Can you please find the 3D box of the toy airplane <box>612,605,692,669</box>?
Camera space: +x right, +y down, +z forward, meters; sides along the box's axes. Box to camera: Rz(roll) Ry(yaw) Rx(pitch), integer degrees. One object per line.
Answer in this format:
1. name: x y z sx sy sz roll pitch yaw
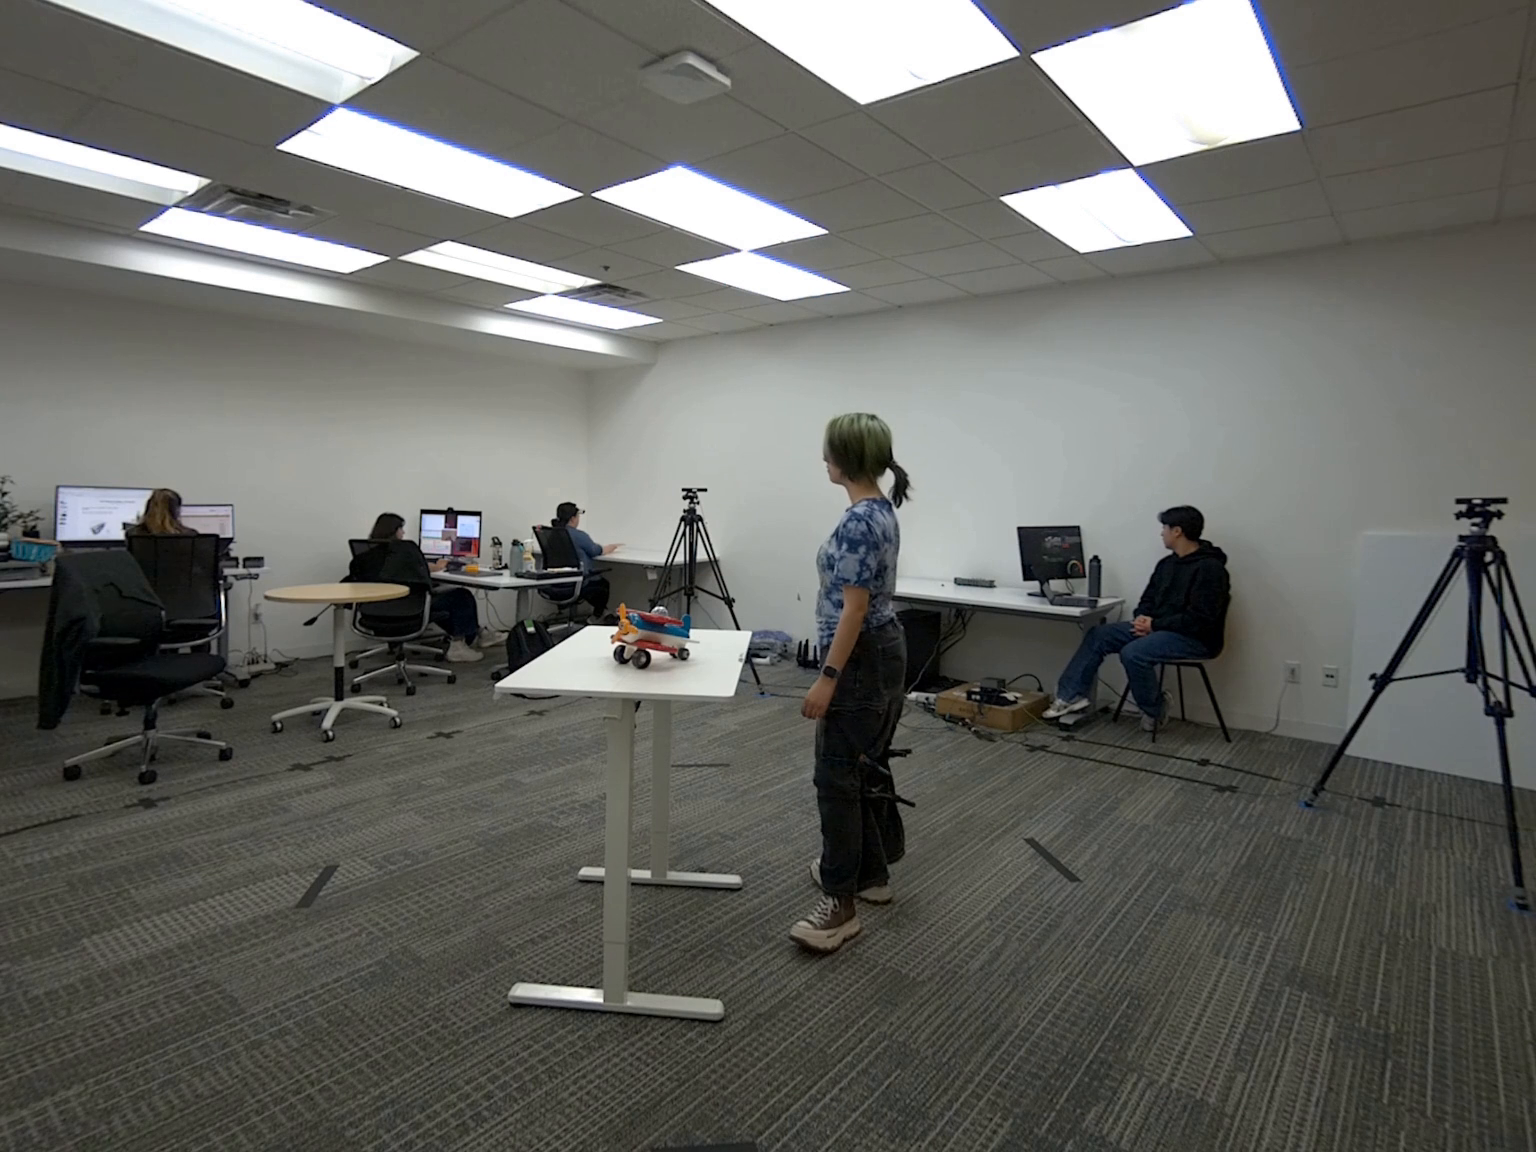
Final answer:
1. toy airplane: -0.354 0.173 2.470 0.256 0.156 0.255 3 5 17
